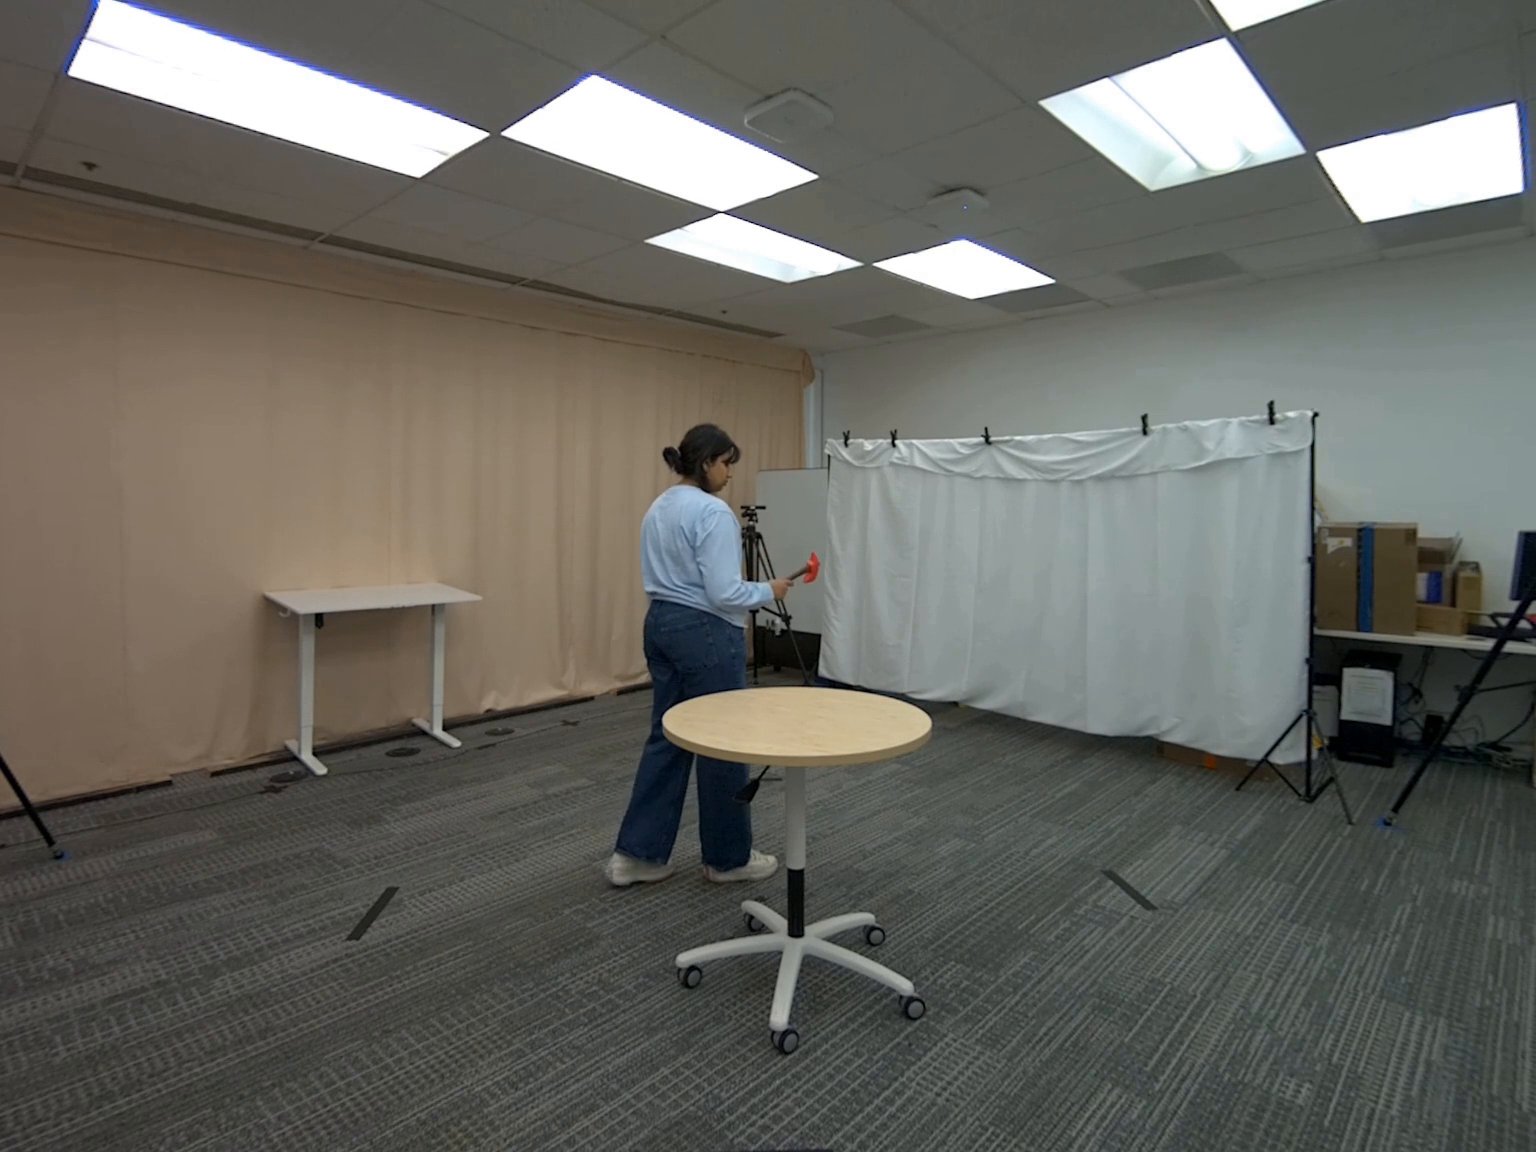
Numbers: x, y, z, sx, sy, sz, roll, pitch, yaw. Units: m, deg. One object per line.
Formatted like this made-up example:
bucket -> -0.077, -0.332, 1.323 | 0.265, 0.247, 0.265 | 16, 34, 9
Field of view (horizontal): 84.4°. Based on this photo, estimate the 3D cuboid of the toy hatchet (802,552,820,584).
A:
toy hatchet -> 0.106, 0.025, 3.202 | 0.268, 0.127, 0.031 | -41, 48, -15
